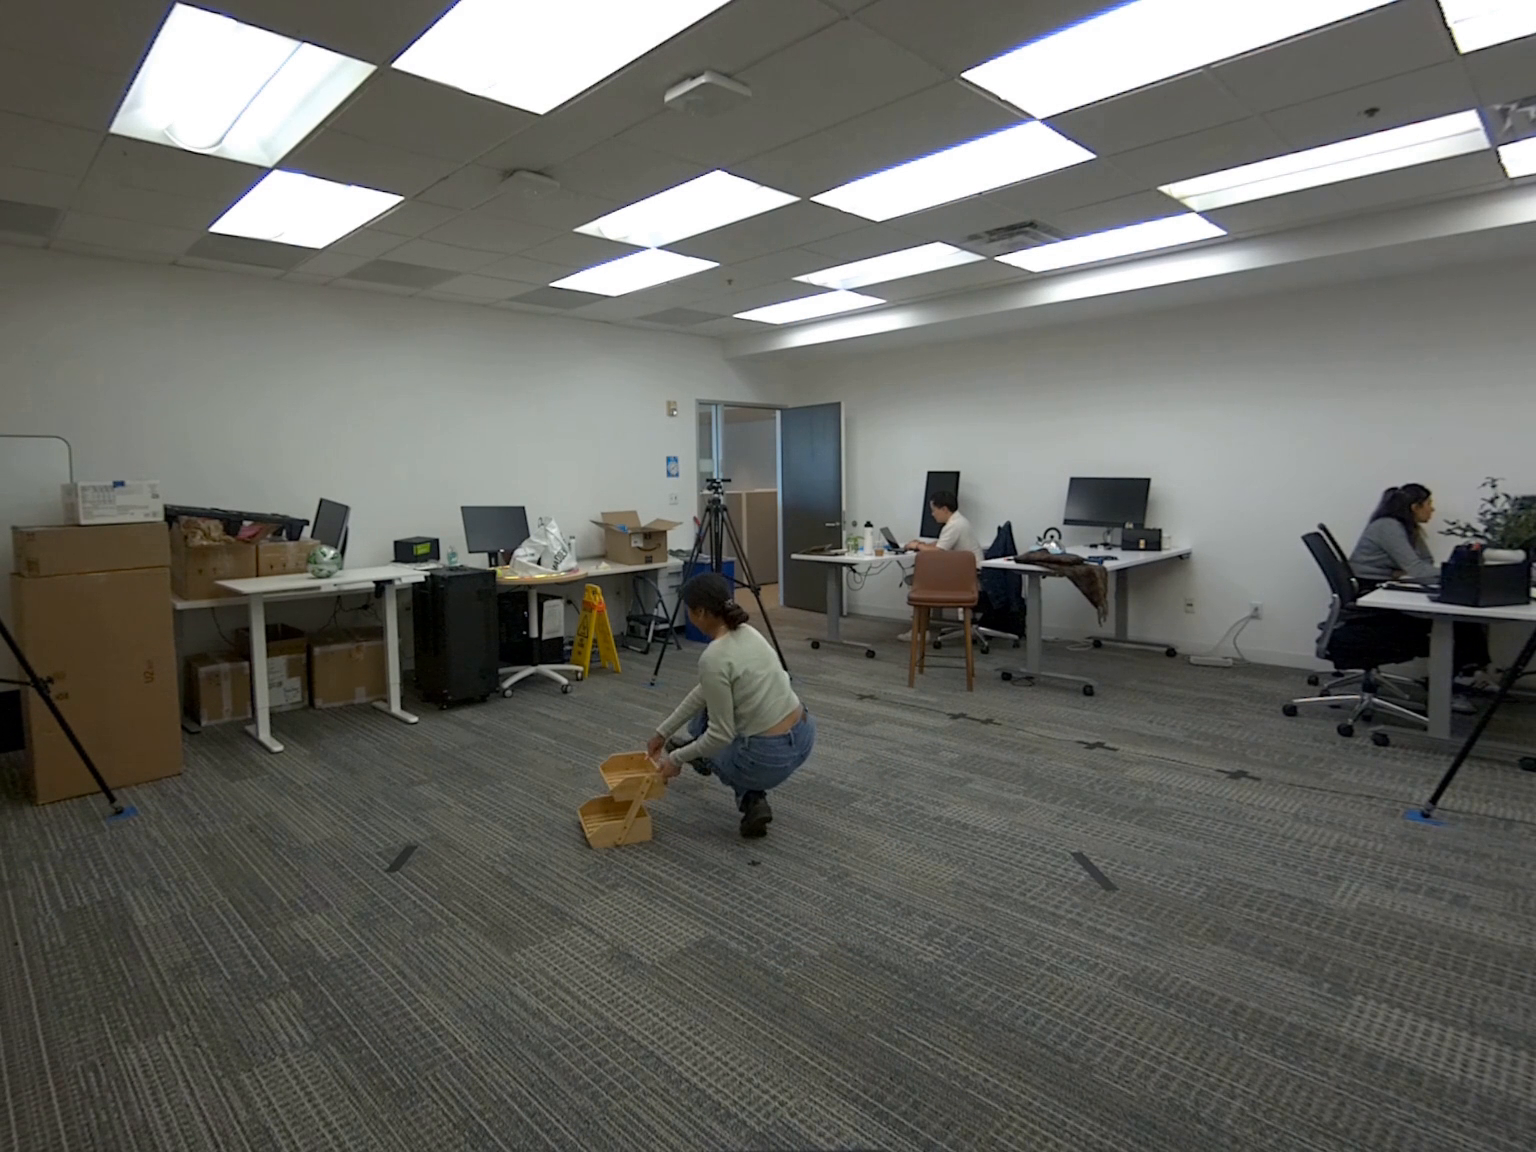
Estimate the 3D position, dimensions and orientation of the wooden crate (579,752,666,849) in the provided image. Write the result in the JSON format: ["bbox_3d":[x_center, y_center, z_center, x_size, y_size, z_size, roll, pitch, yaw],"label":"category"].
[{"bbox_3d":[-0.596,0.883,3.424,0.297,0.272,0.331,-3,5,-19],"label":"wooden crate"}]
